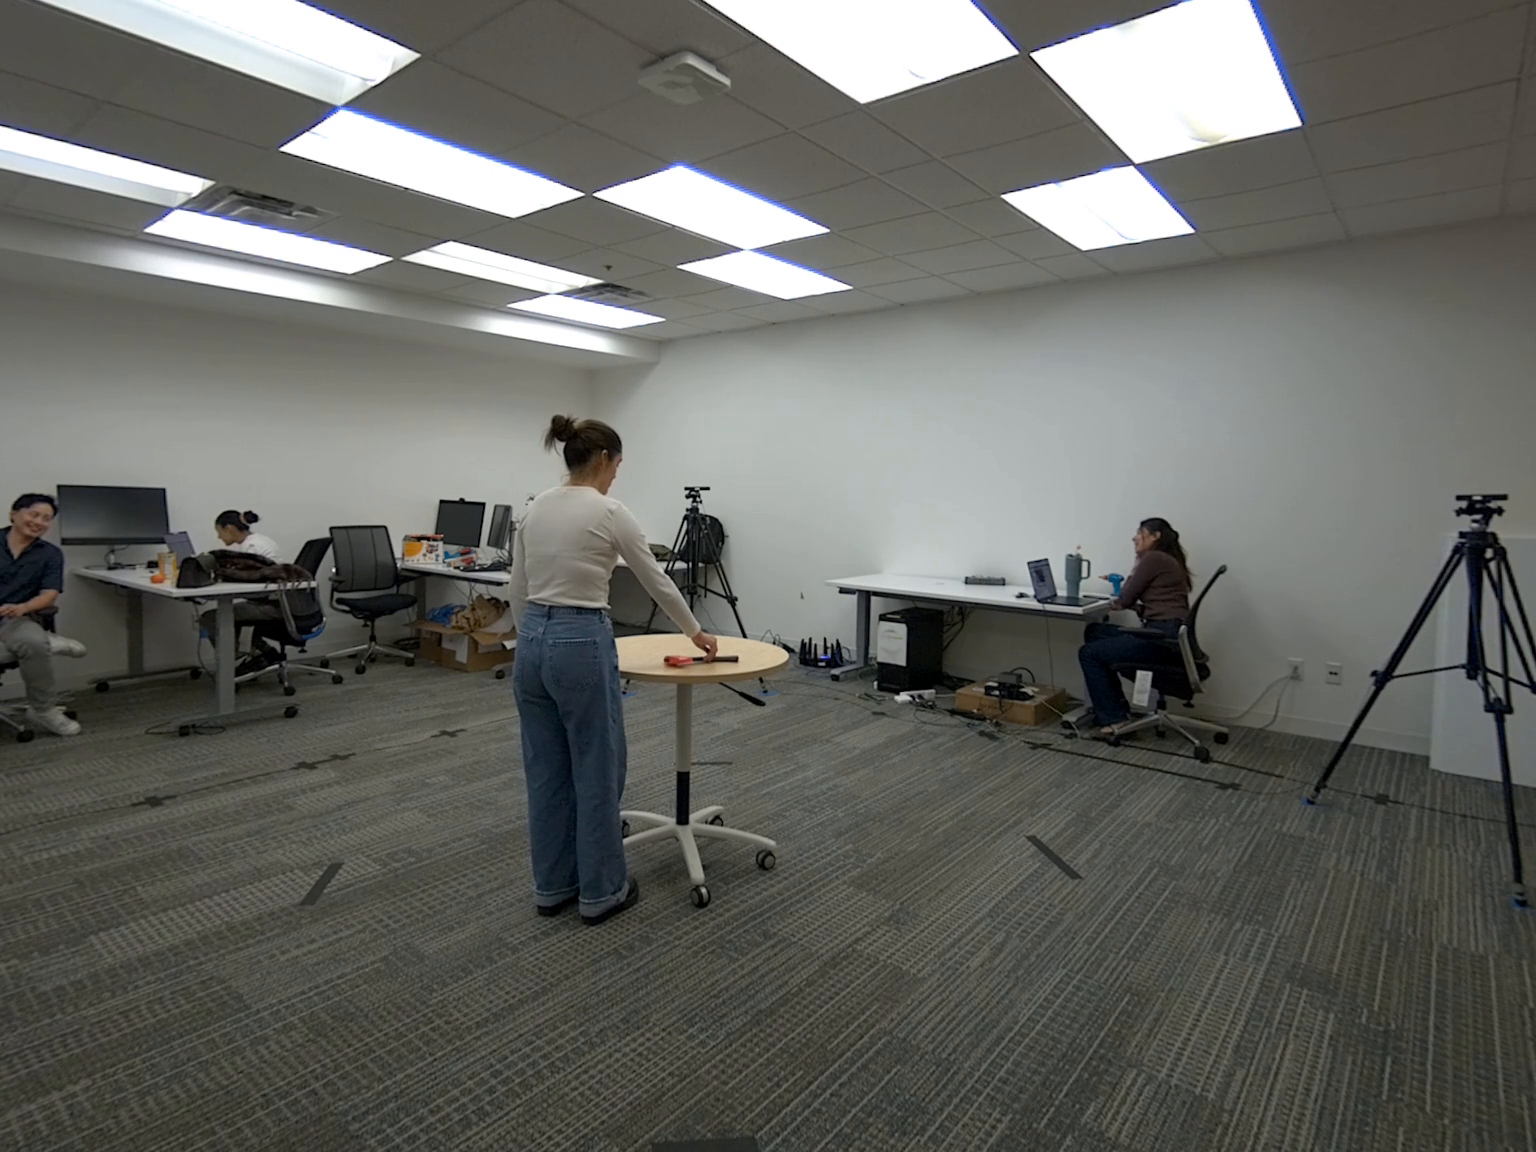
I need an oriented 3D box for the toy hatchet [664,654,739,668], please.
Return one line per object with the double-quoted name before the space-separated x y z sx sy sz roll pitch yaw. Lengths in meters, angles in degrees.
"toy hatchet" -0.237 0.289 2.924 0.267 0.030 0.131 0 -6 -9
